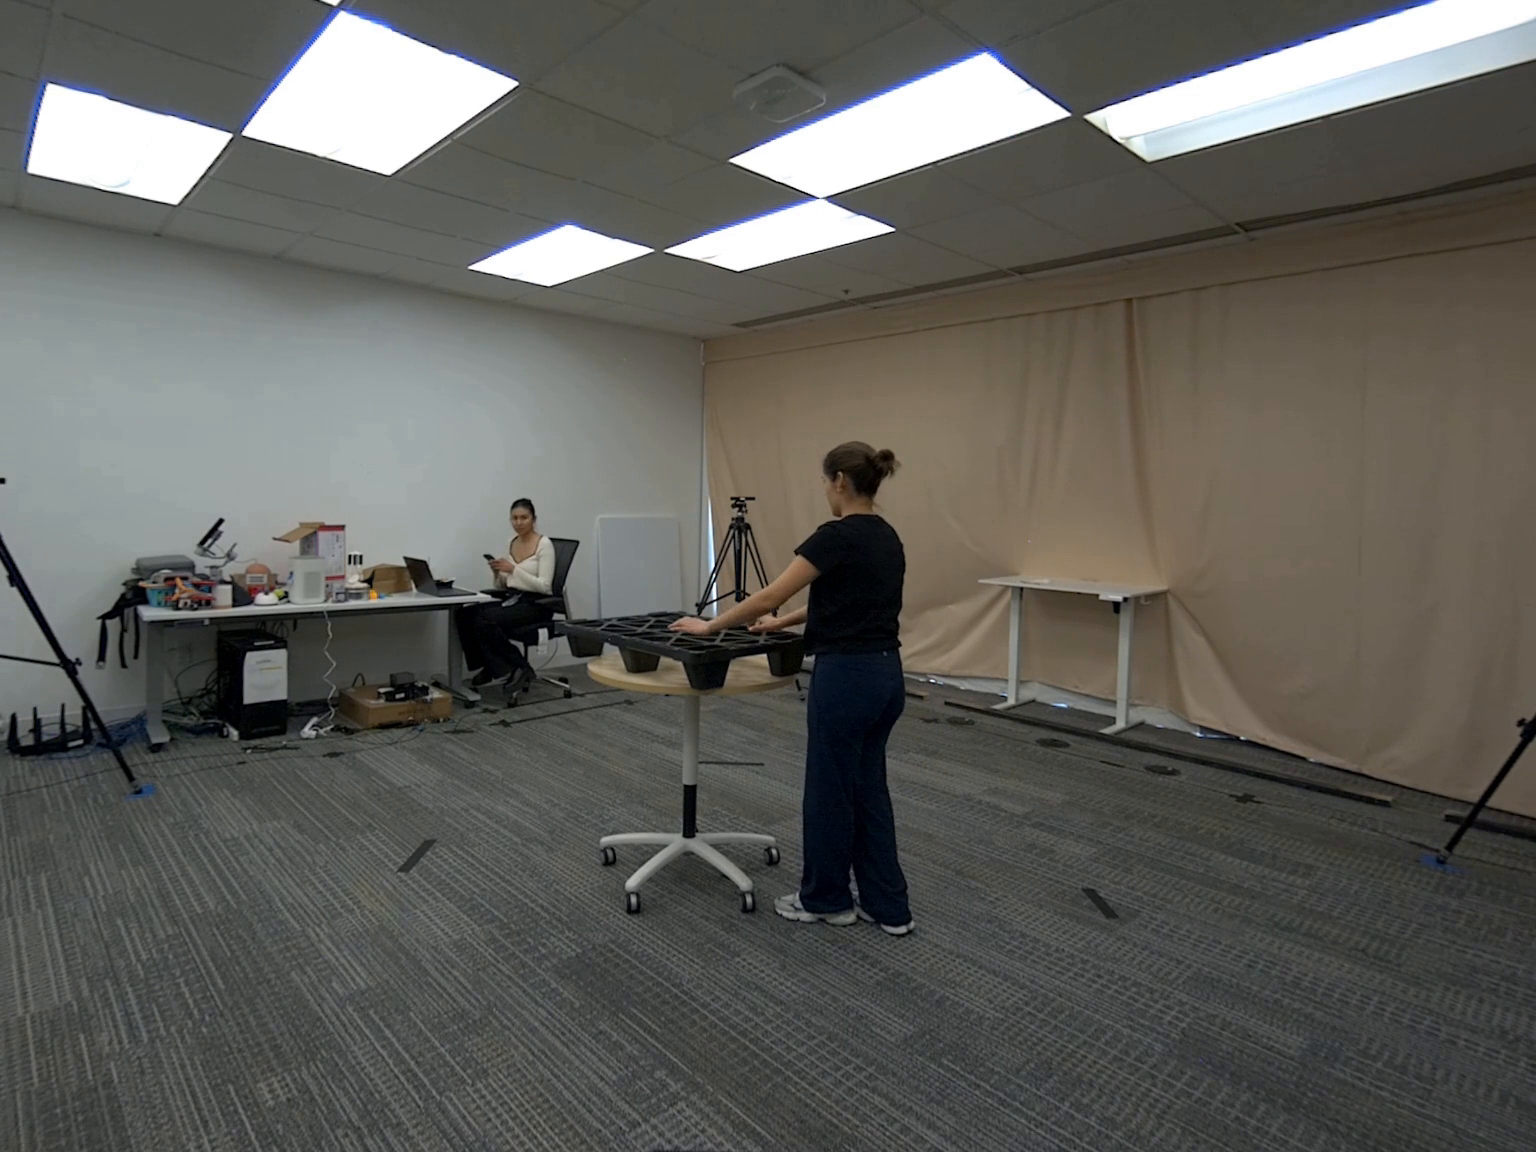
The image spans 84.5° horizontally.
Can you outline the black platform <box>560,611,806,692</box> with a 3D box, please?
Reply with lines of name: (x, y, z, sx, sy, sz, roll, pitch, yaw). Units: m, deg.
black platform: (-0.317, 0.263, 3.045, 0.826, 0.143, 0.591, 7, 7, 45)
